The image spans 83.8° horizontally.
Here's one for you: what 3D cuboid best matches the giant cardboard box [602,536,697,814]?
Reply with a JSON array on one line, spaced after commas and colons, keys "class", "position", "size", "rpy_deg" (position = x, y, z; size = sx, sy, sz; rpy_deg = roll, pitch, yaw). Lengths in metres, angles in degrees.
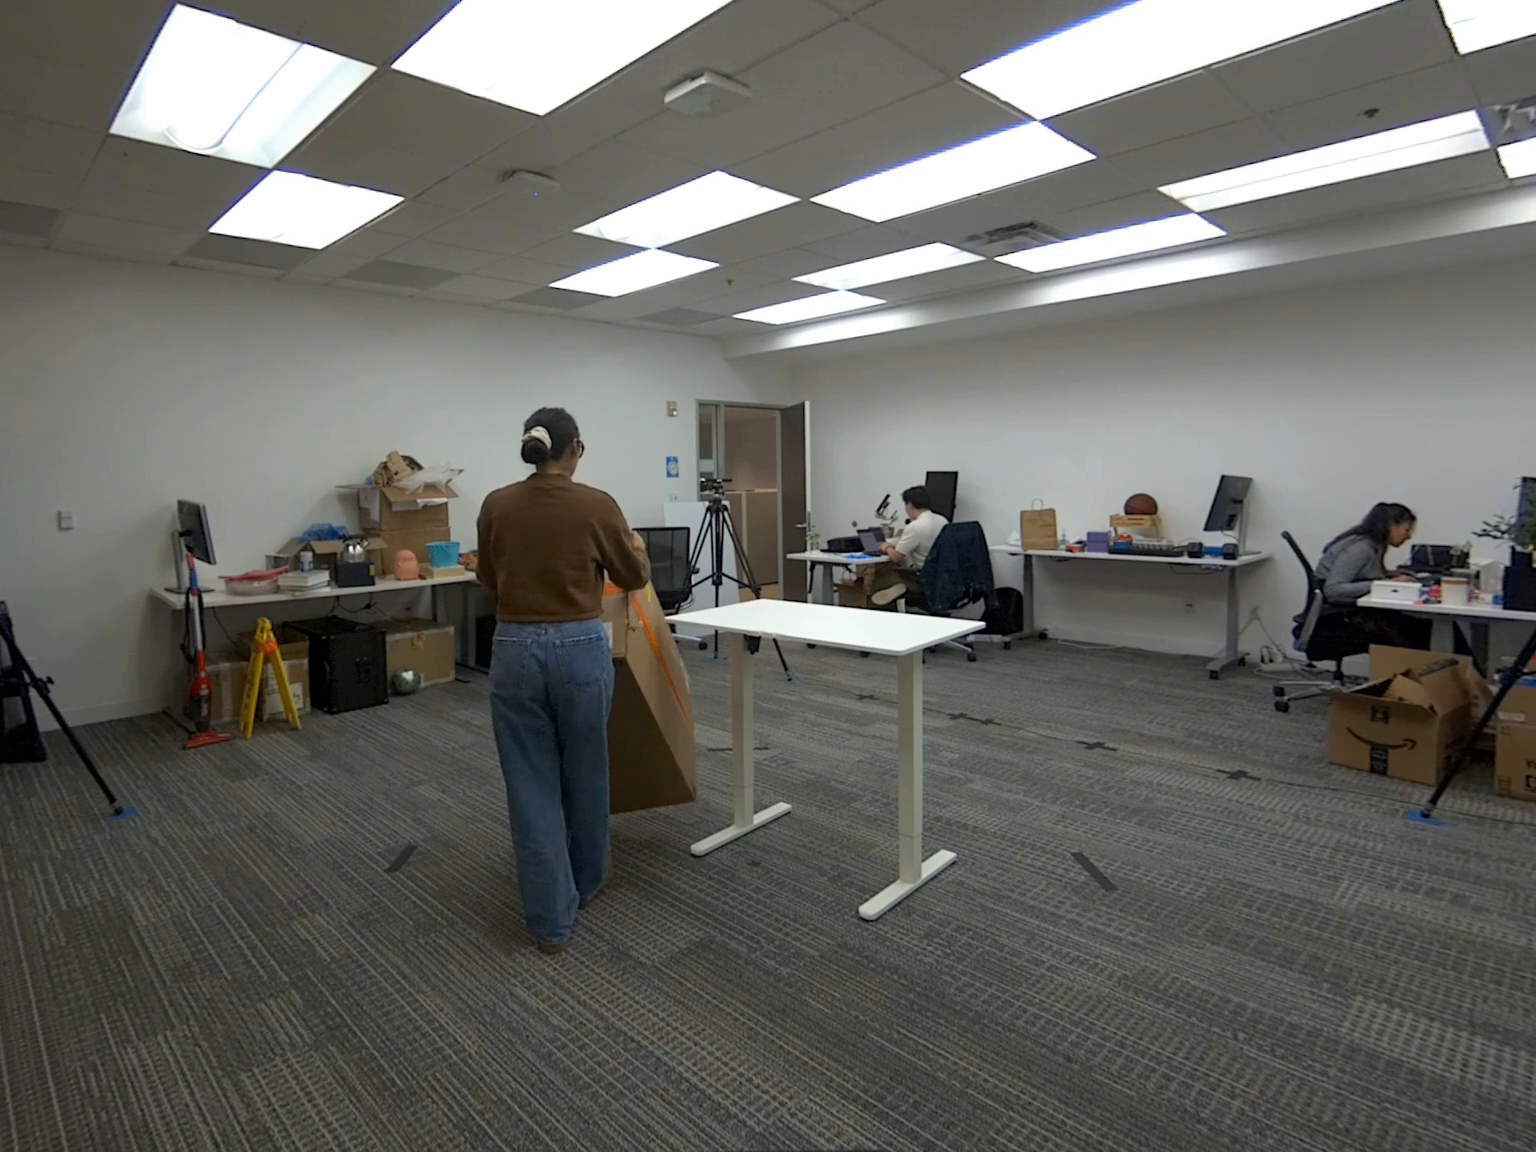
[{"class": "giant cardboard box", "position": [-0.593, 0.398, 3.242], "size": [0.428, 0.595, 0.991], "rpy_deg": [-10, -42, 4]}]
